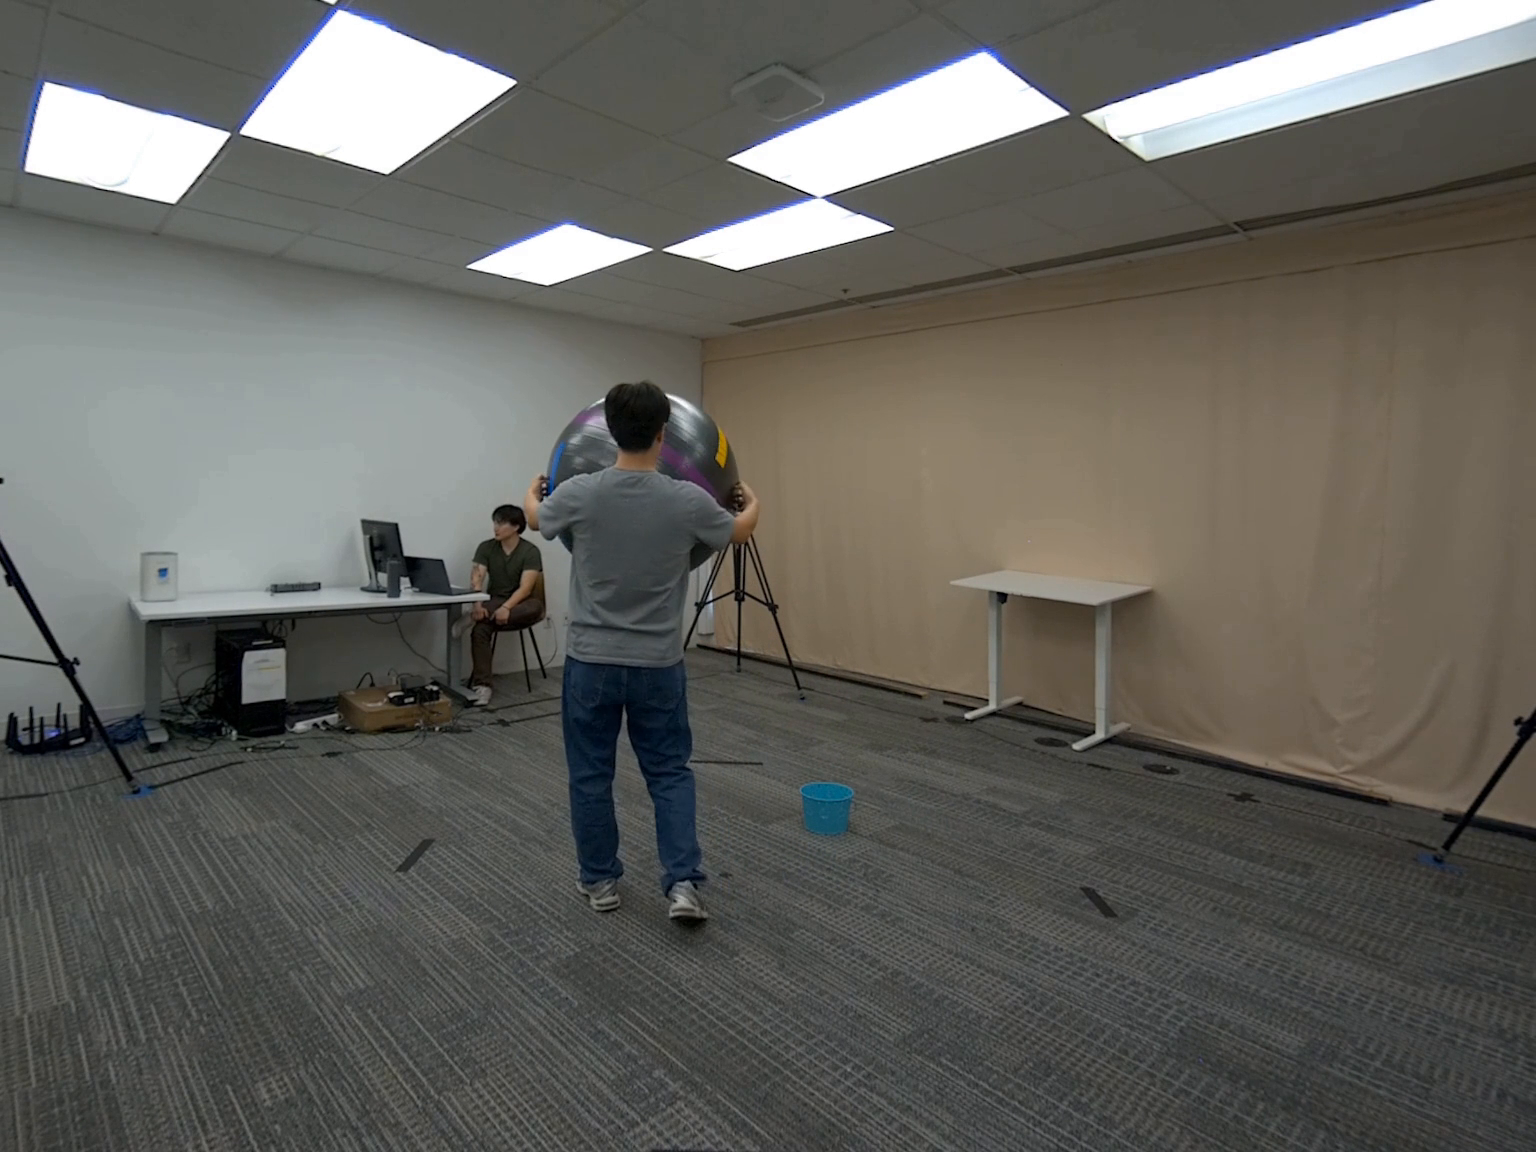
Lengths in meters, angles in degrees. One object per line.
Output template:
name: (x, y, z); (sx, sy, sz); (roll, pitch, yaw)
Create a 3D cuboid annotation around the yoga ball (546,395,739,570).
yoga ball: (-0.499, -0.337, 3.308); (0.757, 0.756, 0.761); (1, 4, -1)
